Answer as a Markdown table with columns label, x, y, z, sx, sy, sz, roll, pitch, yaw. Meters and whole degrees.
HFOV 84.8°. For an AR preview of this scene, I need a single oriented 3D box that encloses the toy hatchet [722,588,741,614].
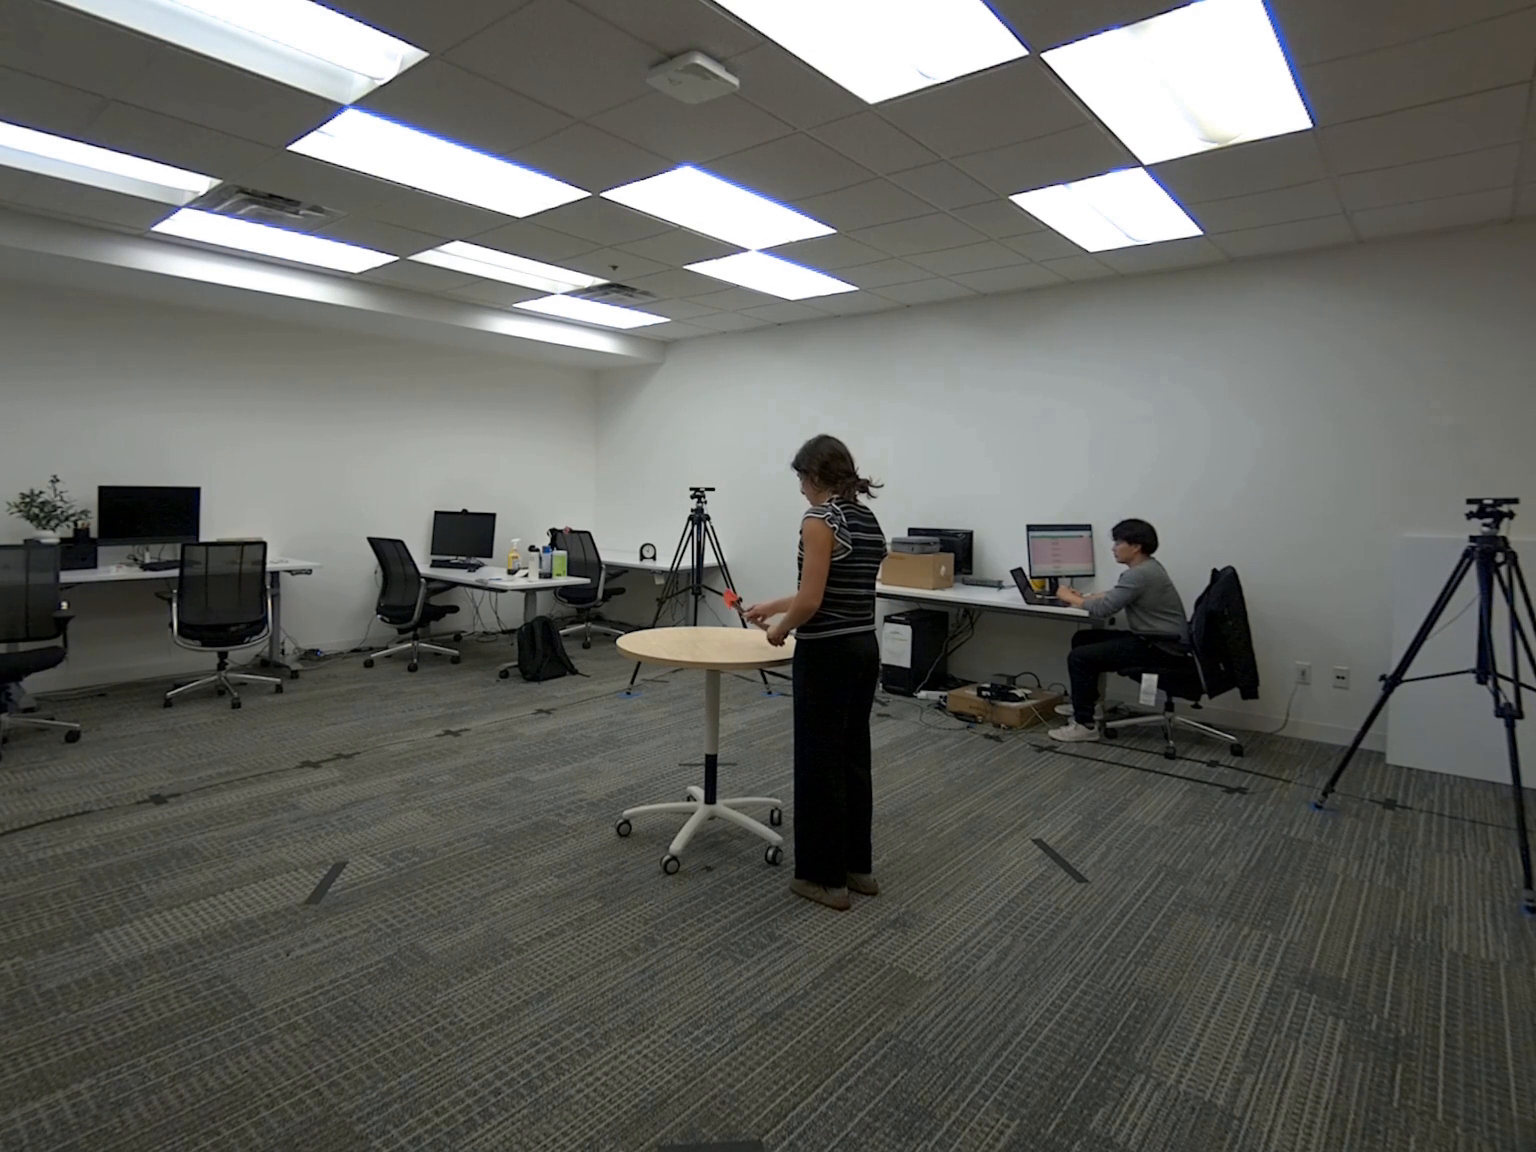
| label | x | y | z | sx | sy | sz | roll | pitch | yaw |
| --- | --- | --- | --- | --- | --- | --- | --- | --- | --- |
| toy hatchet | -0.096 | 0.125 | 3.287 | 0.029 | 0.127 | 0.281 | -31 | 36 | -29 |
